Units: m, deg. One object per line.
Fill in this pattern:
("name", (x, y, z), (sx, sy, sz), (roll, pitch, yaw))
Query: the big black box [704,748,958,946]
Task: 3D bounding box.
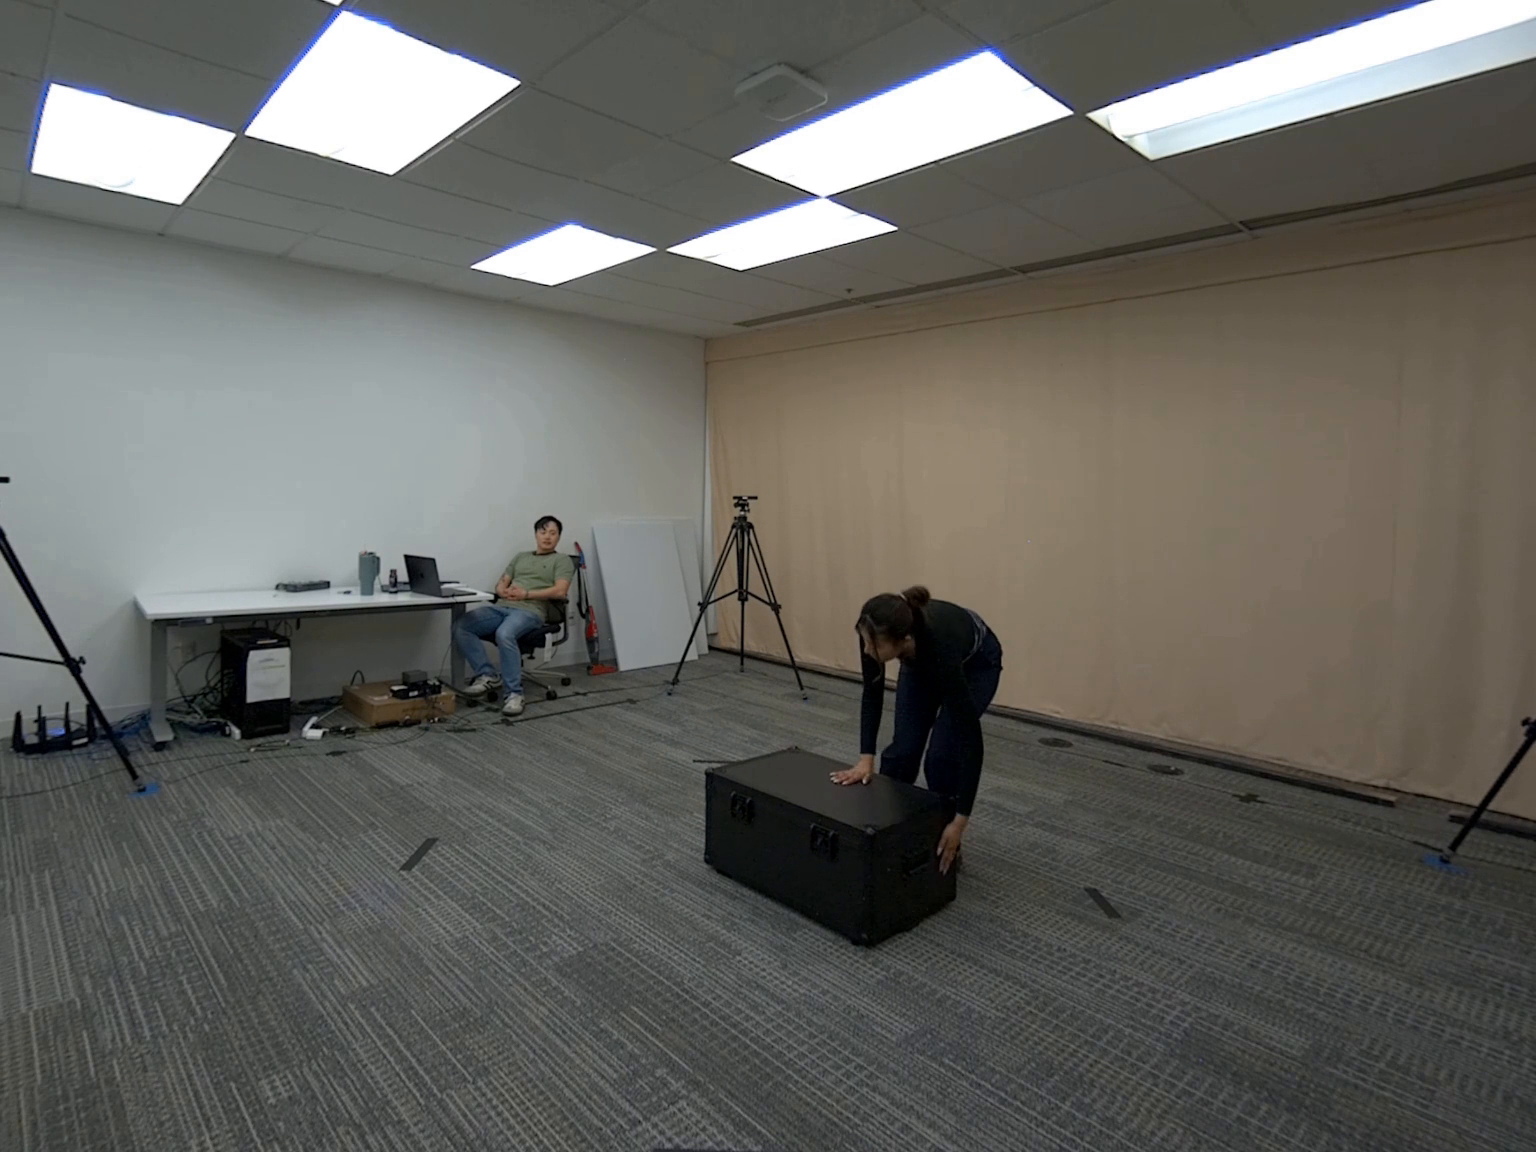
("big black box", (0.218, 0.932, 2.985), (0.509, 0.395, 0.883), (-2, 6, -43))
